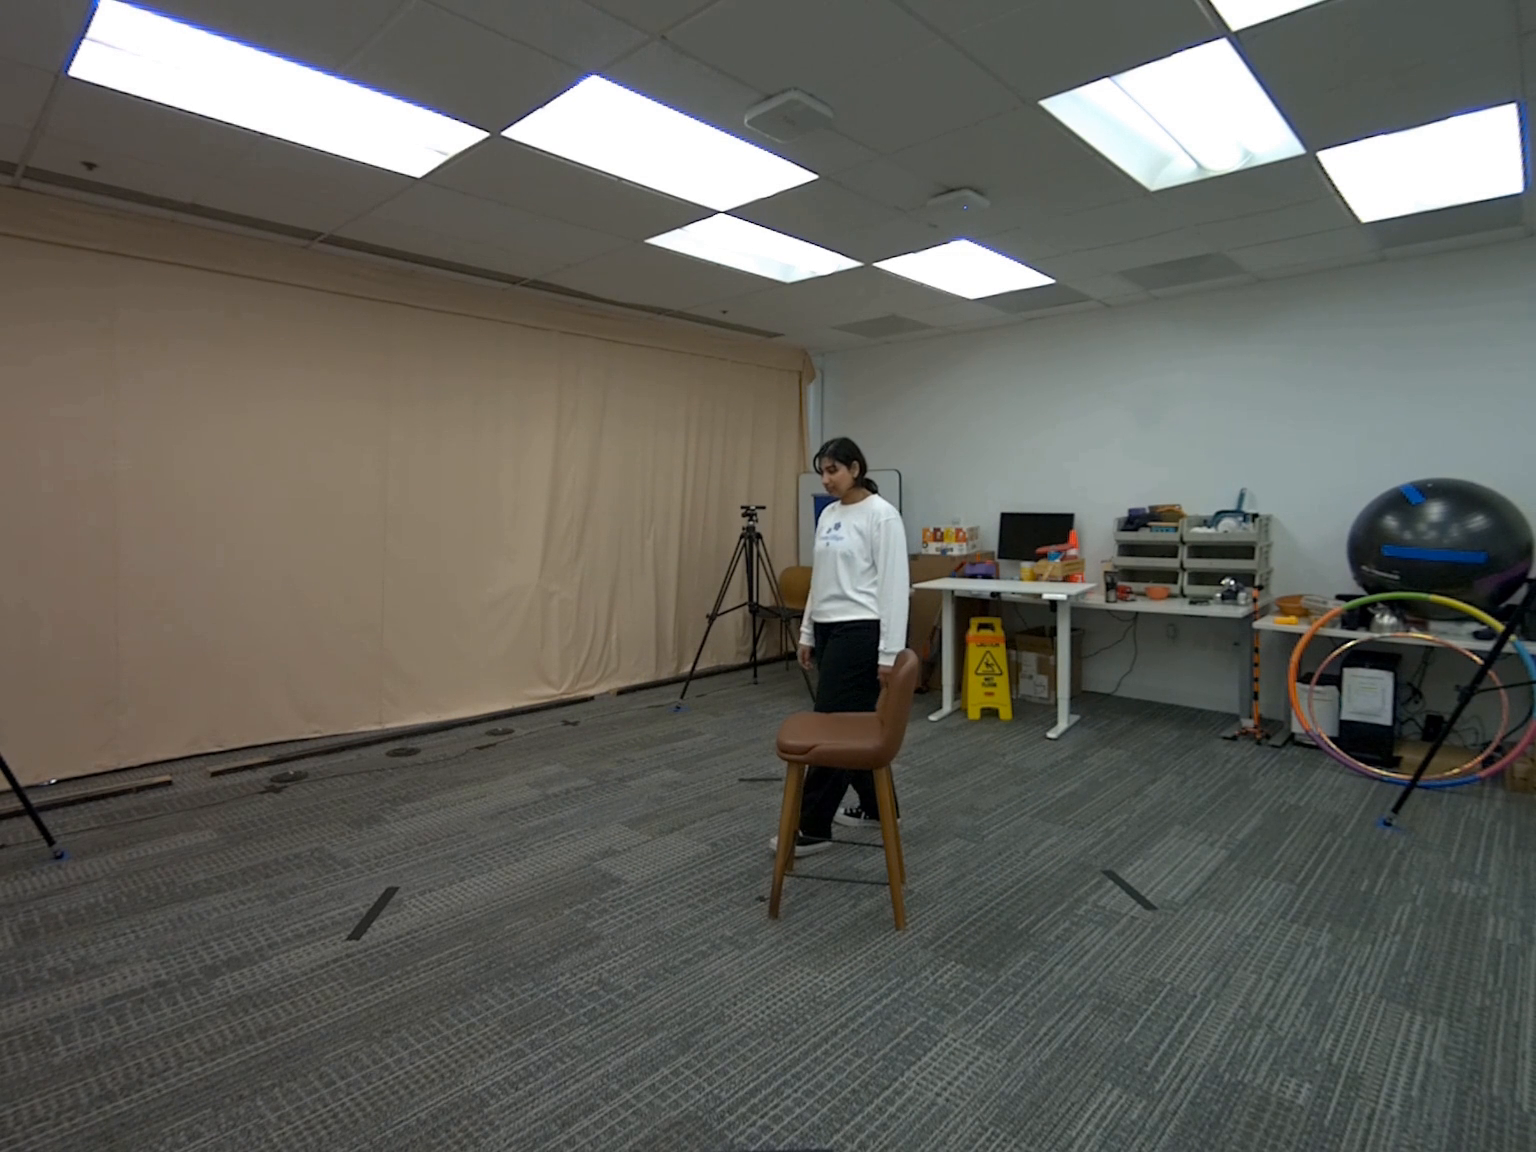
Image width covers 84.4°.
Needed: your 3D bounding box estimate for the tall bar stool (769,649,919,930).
[{"bbox_3d":[0.267,0.710,2.964,0.474,0.888,0.451,2,3,12],"label":"tall bar stool"}]
